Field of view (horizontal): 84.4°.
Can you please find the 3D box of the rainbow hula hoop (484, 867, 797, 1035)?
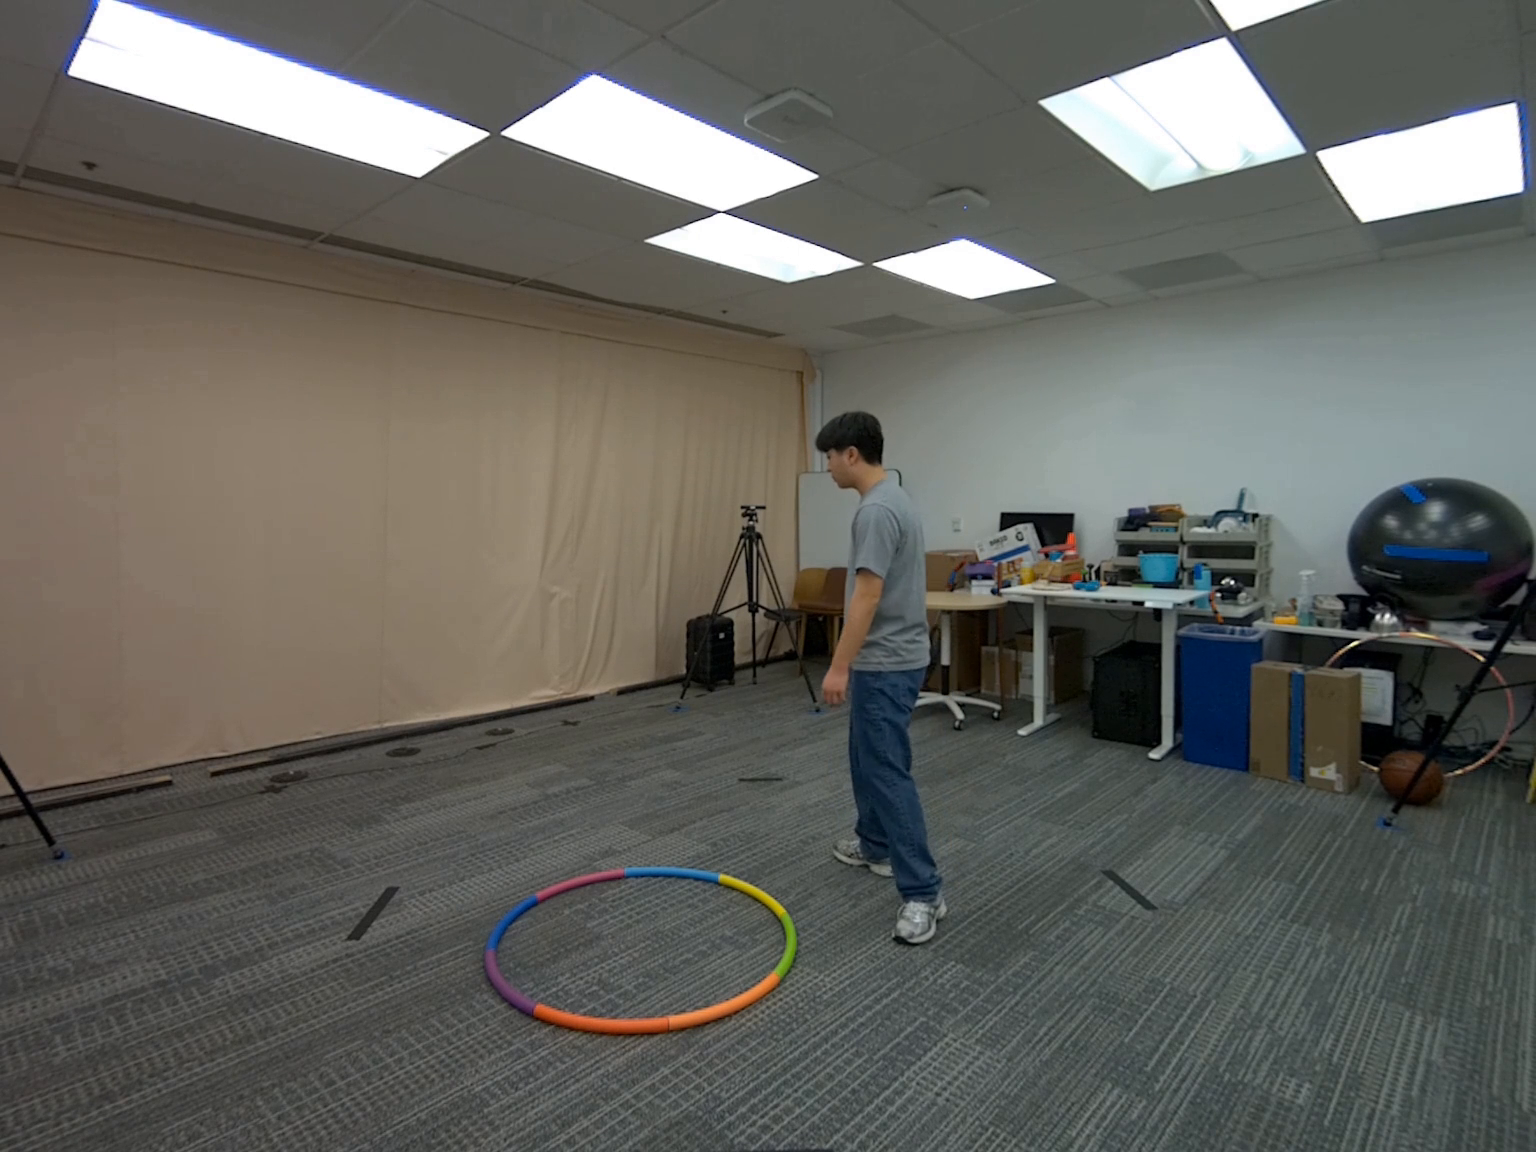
[{"bbox_3d":[-0.398,1.144,2.704,0.978,0.035,0.982,-1,4,-2],"label":"rainbow hula hoop"}]
